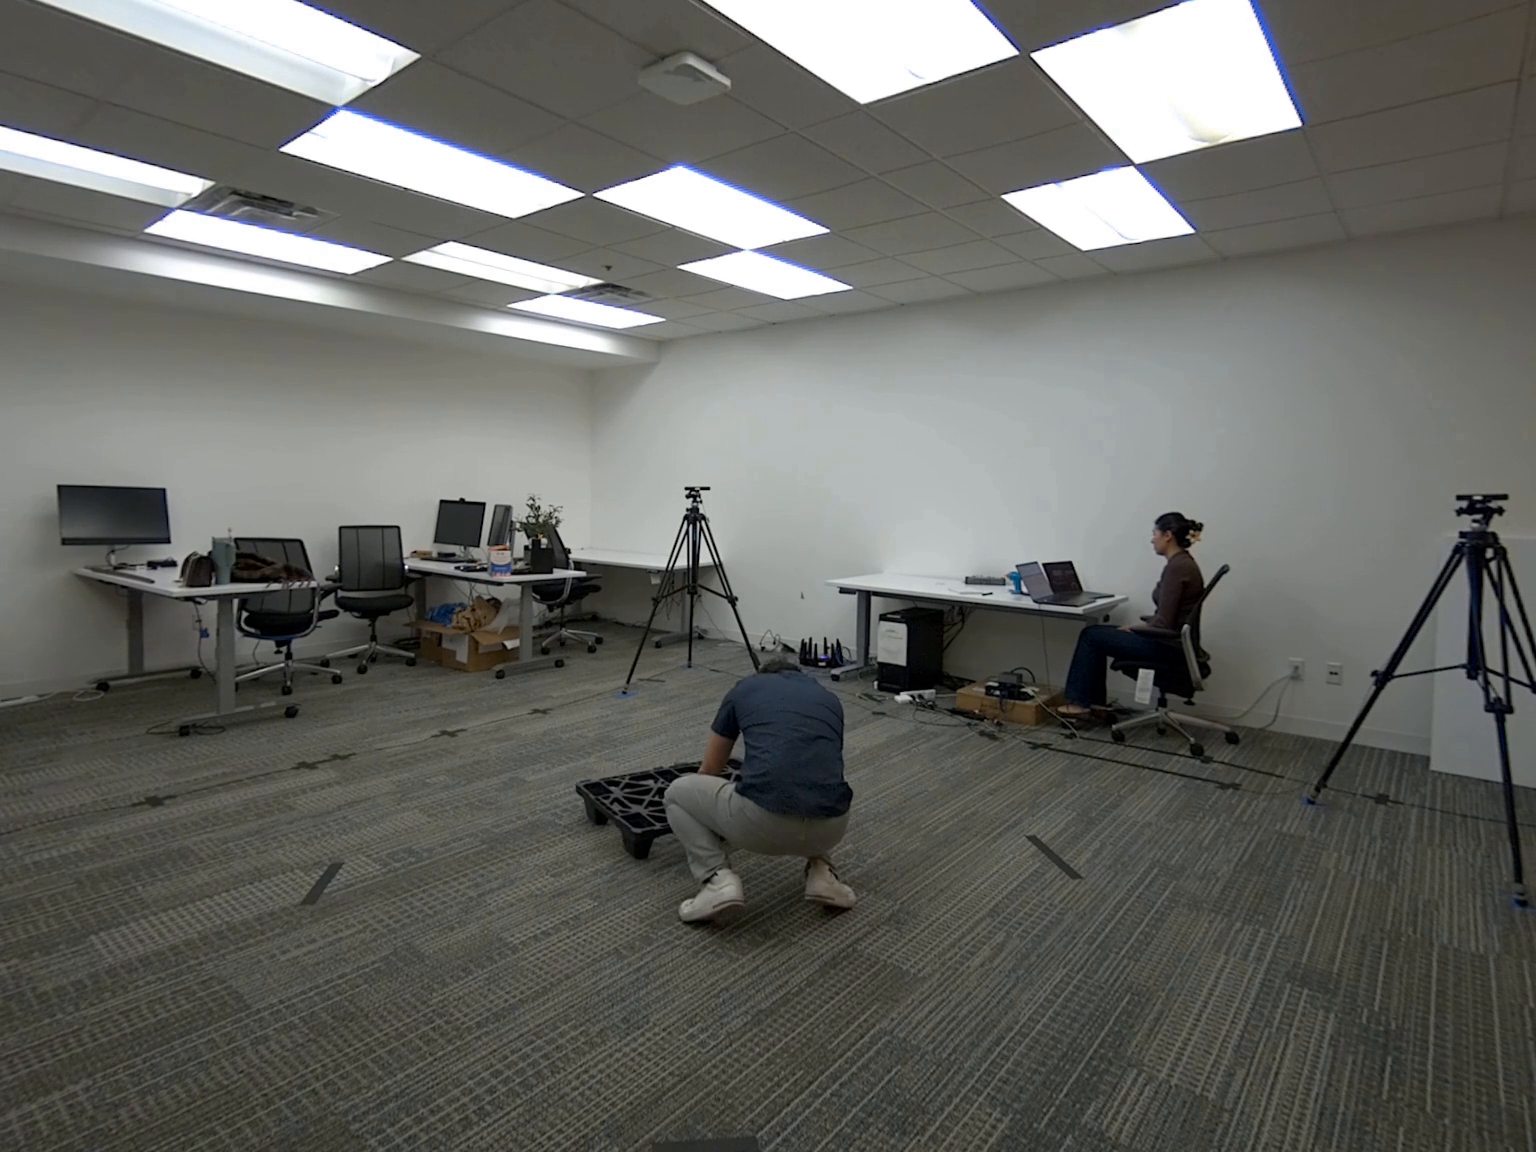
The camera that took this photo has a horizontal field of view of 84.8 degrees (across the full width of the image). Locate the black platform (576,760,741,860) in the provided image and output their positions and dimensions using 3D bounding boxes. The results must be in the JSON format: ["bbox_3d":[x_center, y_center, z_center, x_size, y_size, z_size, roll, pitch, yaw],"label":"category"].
[{"bbox_3d":[-0.334,0.949,3.560,0.783,0.143,0.624,-3,6,-32],"label":"black platform"}]
